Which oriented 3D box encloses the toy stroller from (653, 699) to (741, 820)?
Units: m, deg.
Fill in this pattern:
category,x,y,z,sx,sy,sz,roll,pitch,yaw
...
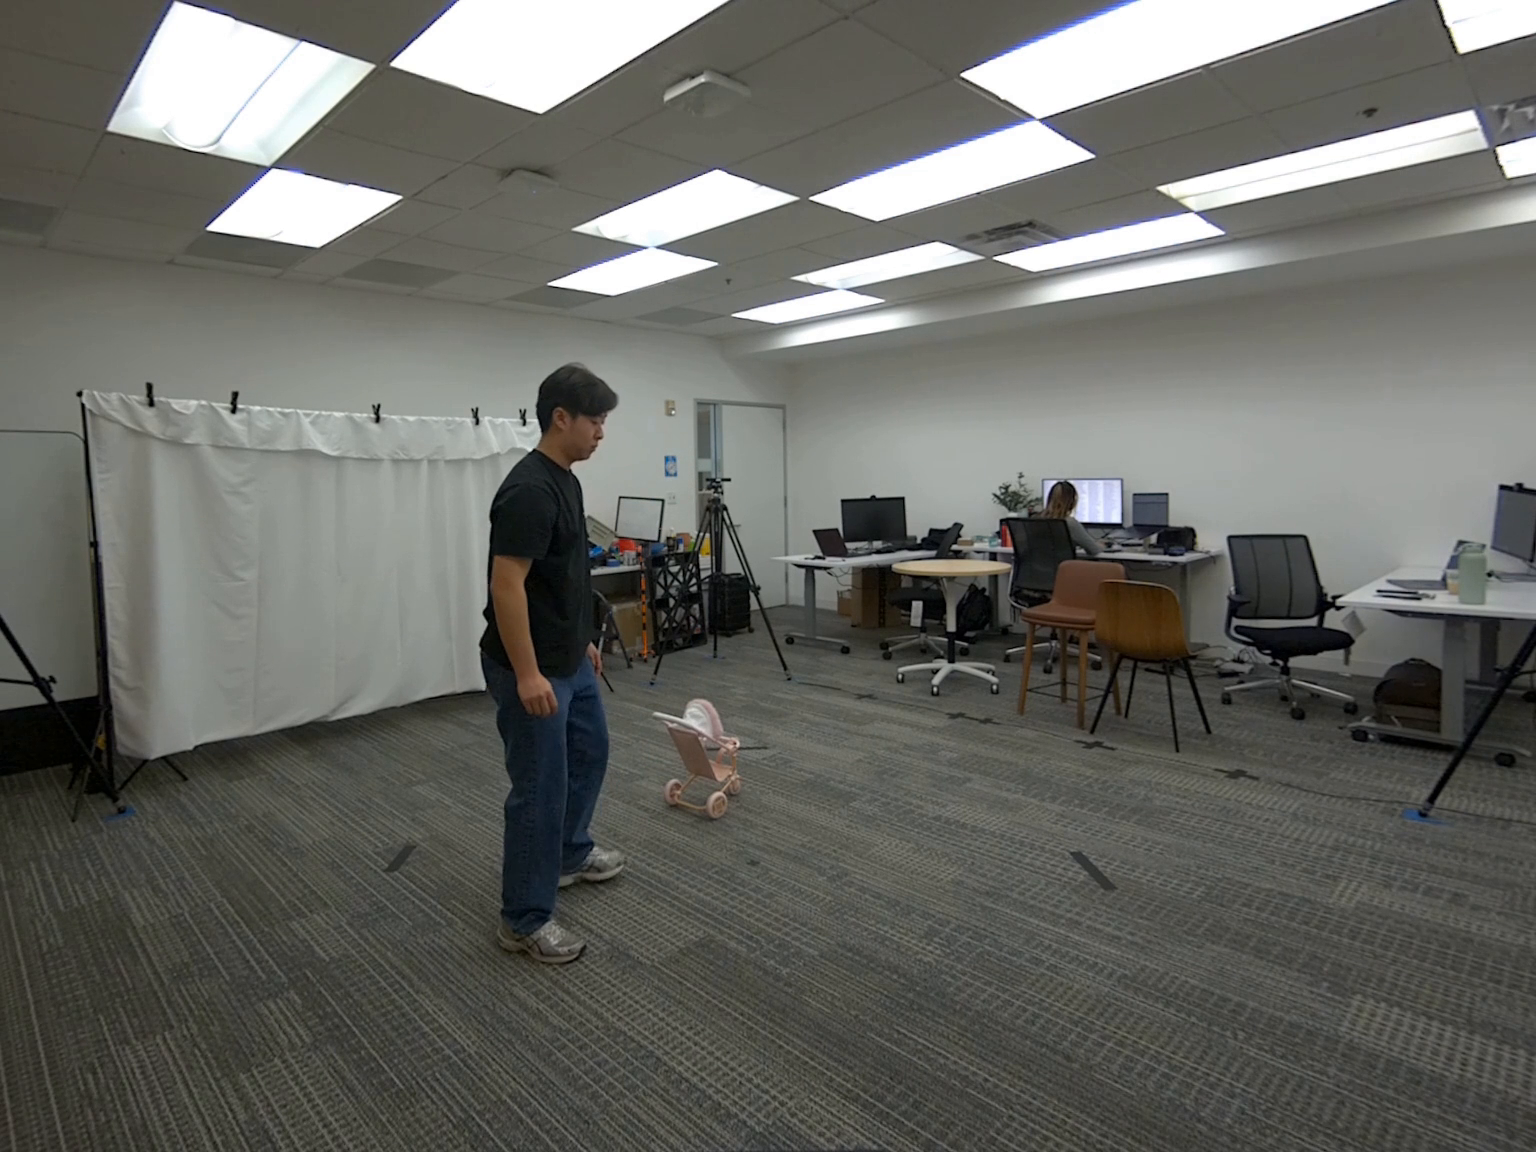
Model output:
category,x,y,z,sx,sy,sz,roll,pitch,yaw
toy stroller,-0.267,0.759,3.635,0.290,0.527,0.336,3,21,44
